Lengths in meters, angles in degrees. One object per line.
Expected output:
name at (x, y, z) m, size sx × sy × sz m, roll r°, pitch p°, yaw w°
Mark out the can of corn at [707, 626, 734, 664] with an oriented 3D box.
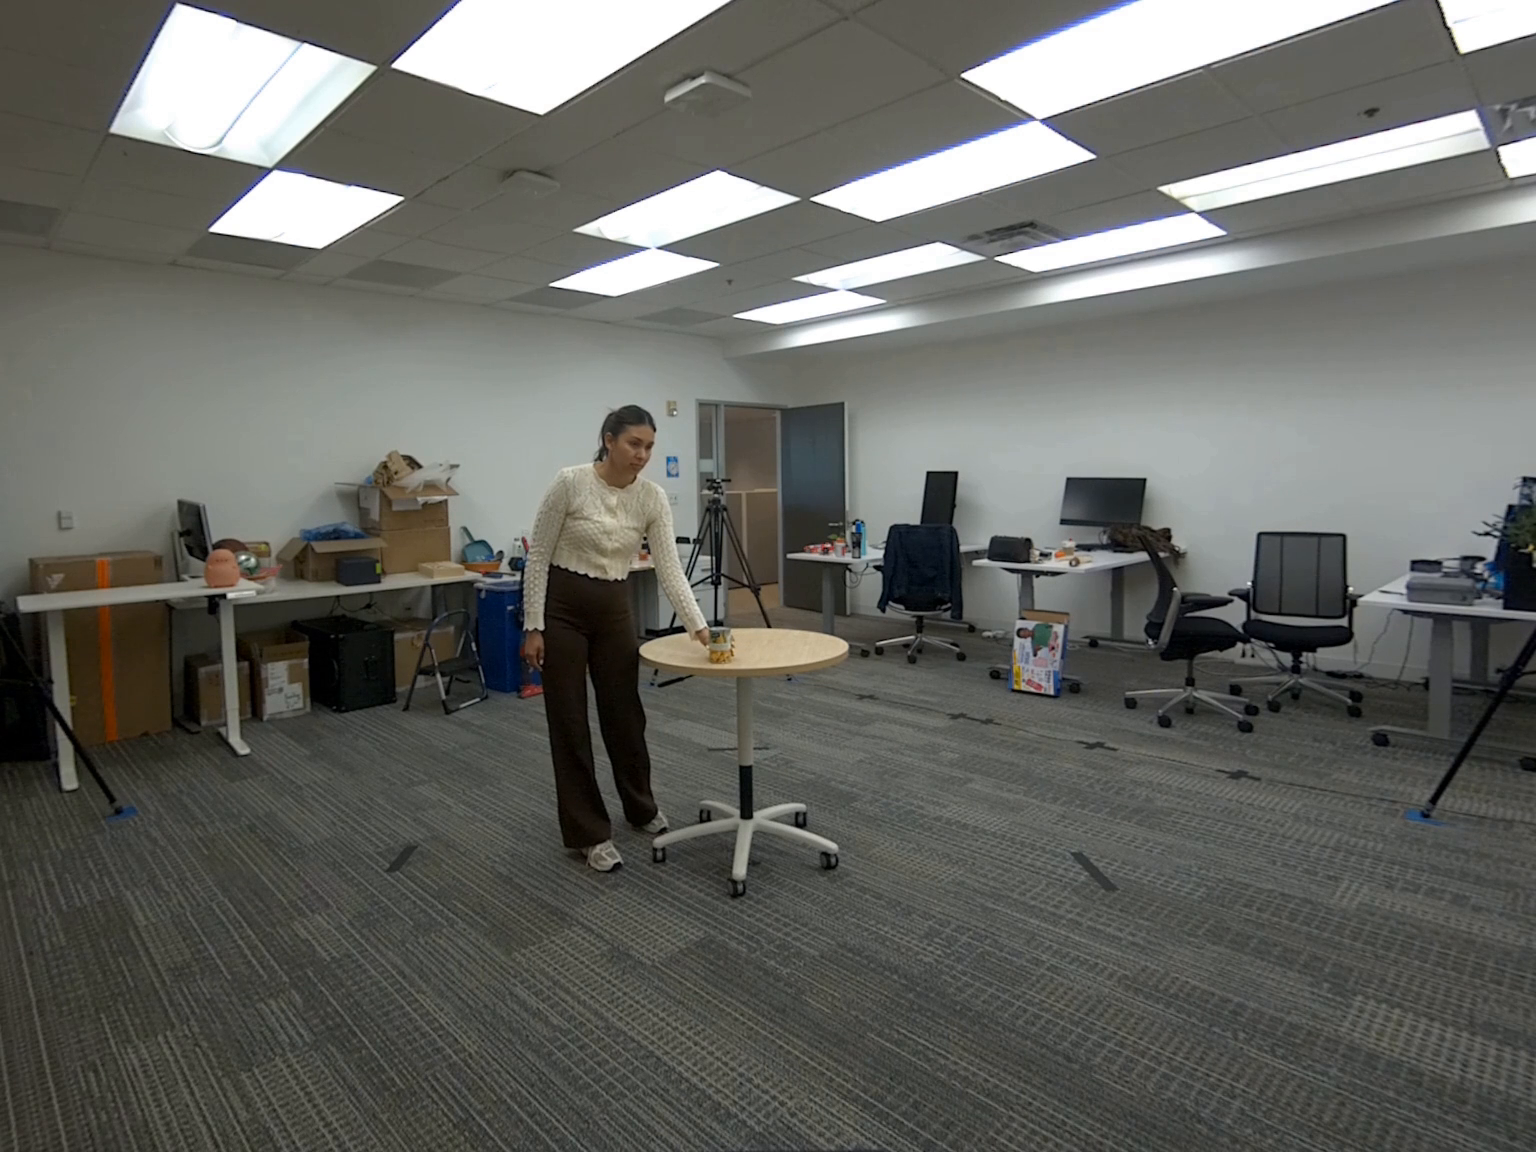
can of corn at (-0.152, 0.228, 2.867) m, size 0.074 × 0.111 × 0.074 m, roll -1°, pitch 2°, yaw -2°
